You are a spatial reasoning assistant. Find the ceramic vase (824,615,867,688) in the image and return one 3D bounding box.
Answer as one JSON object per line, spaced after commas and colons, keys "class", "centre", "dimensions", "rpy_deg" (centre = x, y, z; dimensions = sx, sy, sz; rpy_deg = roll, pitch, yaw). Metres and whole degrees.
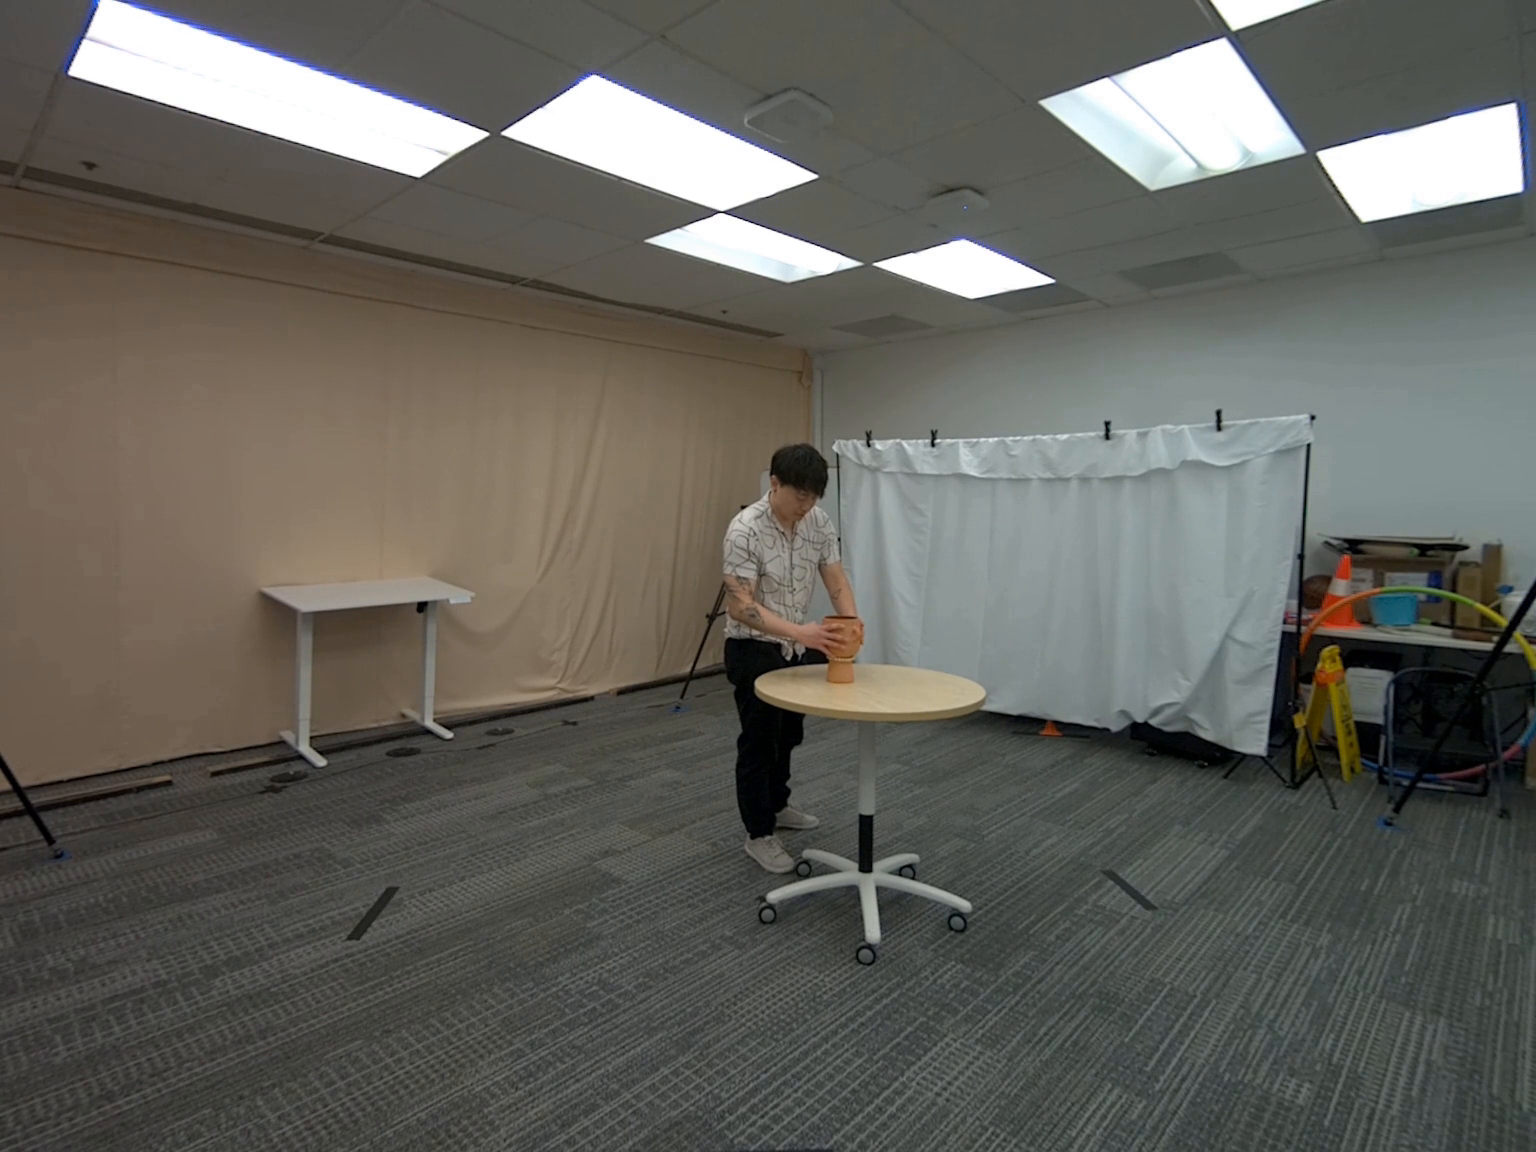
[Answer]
{"class": "ceramic vase", "centre": [0.263, 0.255, 2.910], "dimensions": [0.135, 0.219, 0.158], "rpy_deg": [-1, 4, 5]}
